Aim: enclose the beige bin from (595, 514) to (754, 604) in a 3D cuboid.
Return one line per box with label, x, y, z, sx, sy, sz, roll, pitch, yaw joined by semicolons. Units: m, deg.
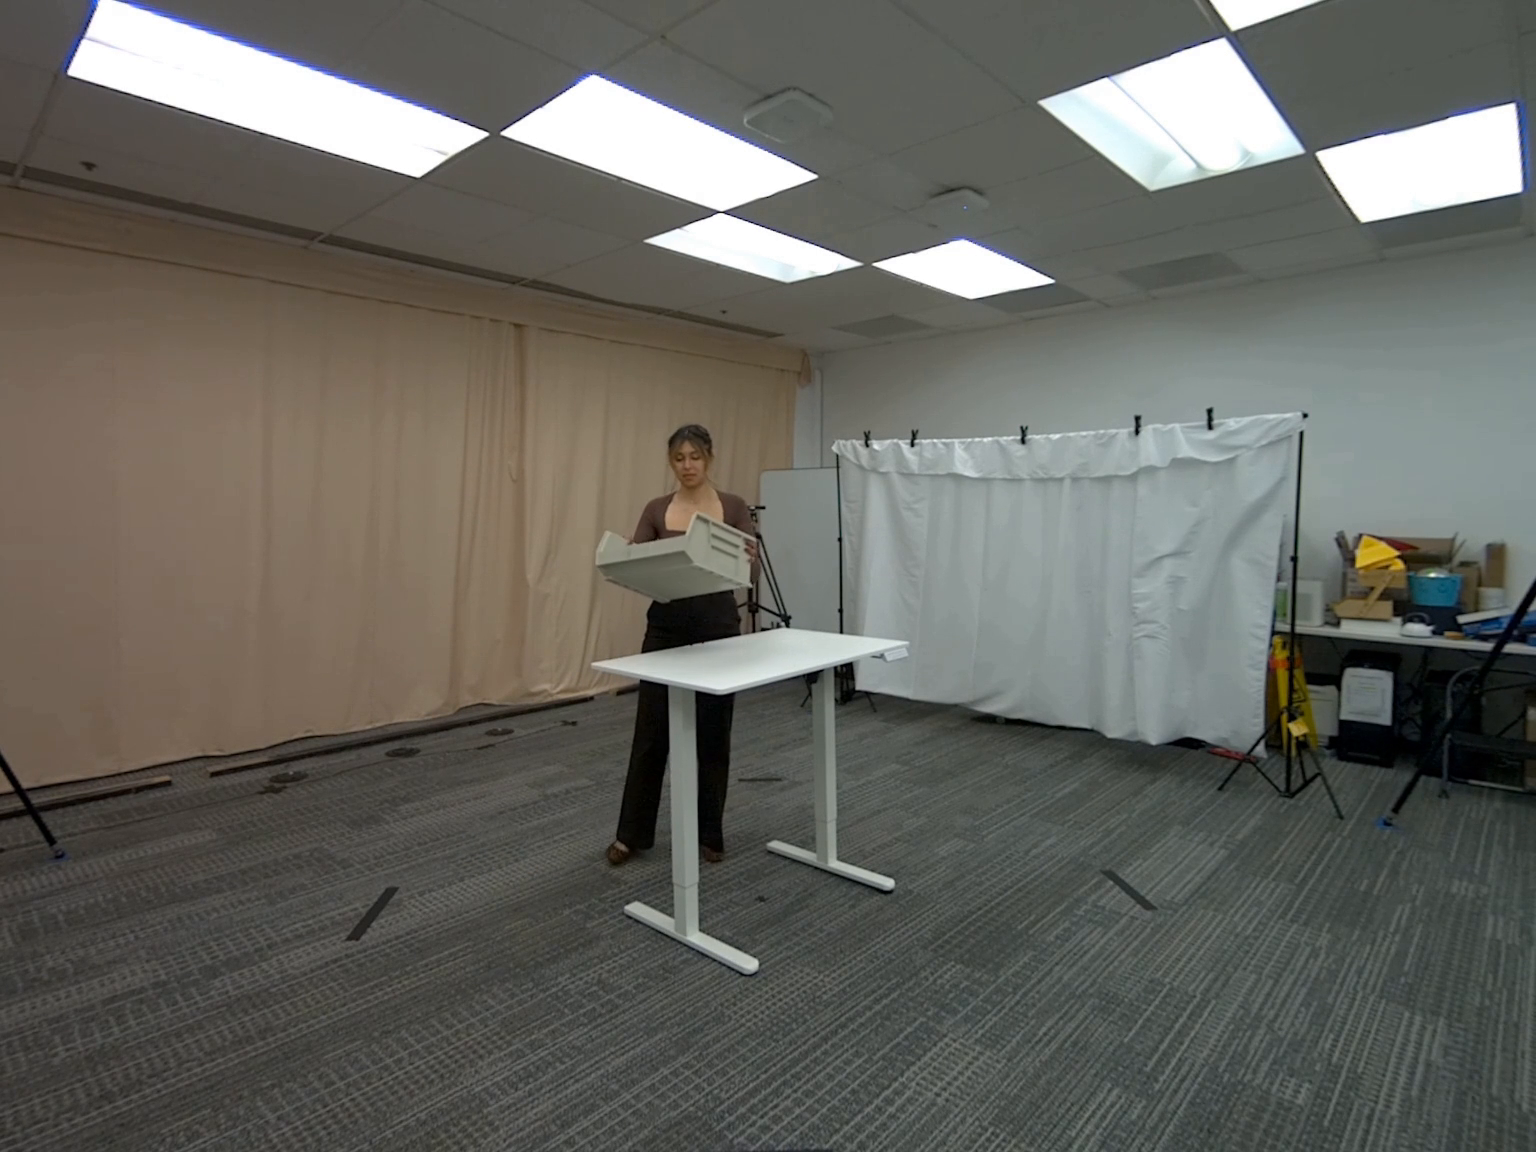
beige bin;-0.315;-0.055;2.916;0.434;0.191;0.363;-10;-22;36
